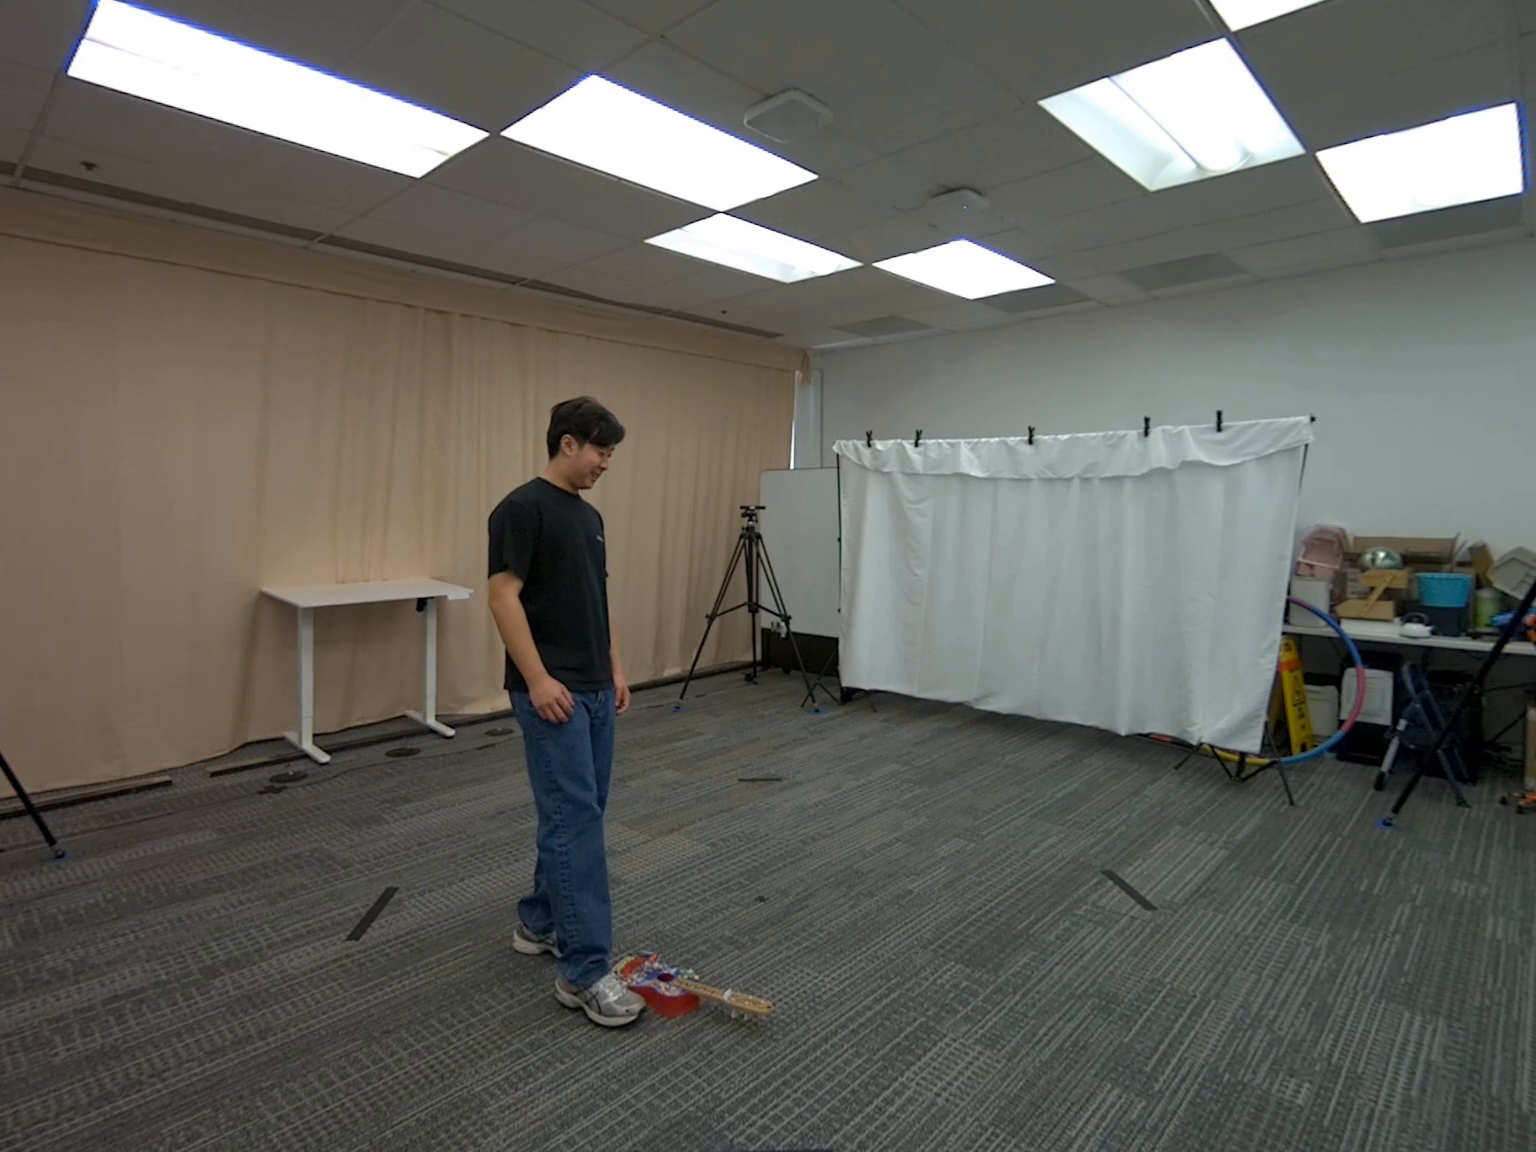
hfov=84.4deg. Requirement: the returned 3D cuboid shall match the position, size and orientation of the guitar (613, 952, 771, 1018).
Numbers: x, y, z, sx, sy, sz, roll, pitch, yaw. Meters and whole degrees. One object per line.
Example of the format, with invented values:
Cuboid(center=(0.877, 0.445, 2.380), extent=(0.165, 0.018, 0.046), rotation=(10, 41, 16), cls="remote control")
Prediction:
Cuboid(center=(-0.238, 1.169, 2.319), extent=(0.514, 0.070, 0.187), rotation=(3, 5, 37), cls="guitar")
